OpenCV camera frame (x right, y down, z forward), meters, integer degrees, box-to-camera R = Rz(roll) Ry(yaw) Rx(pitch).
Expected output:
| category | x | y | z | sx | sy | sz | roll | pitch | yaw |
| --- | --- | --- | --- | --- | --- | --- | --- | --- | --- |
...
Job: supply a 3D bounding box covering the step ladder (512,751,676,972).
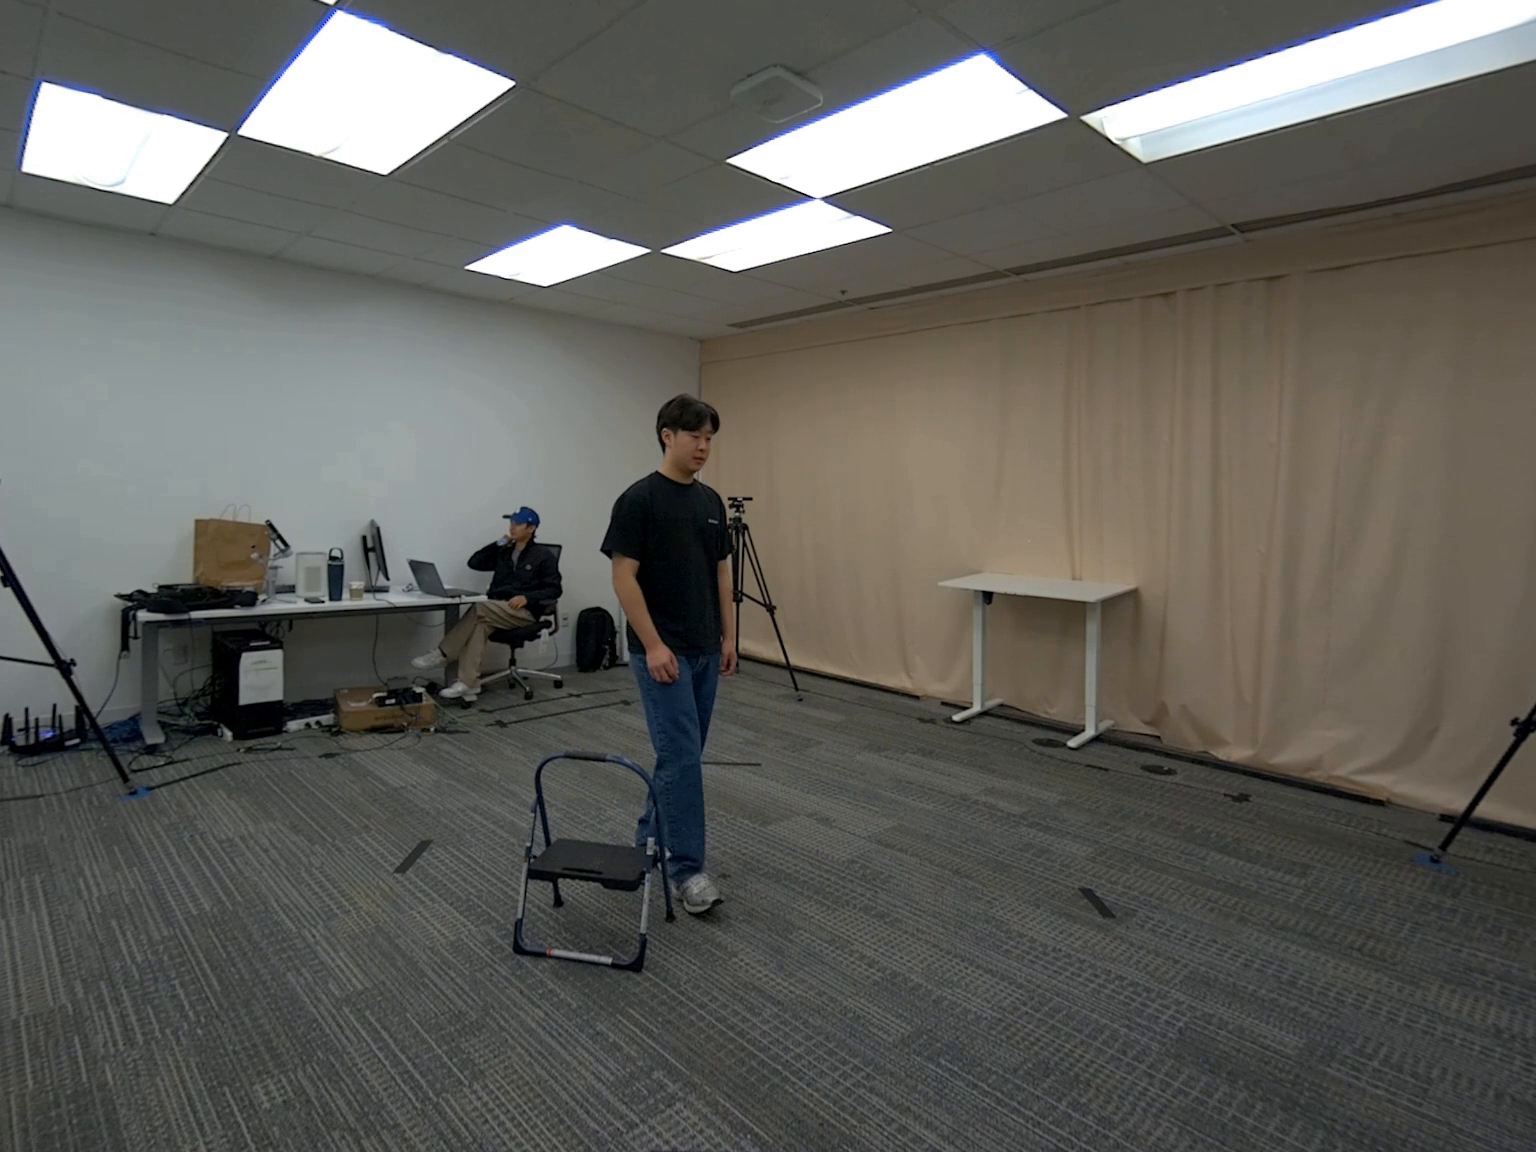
| category | x | y | z | sx | sy | sz | roll | pitch | yaw |
| --- | --- | --- | --- | --- | --- | --- | --- | --- | --- |
| step ladder | -0.546 | 0.840 | 2.644 | 0.434 | 0.604 | 0.347 | 1 | 4 | 11 |
